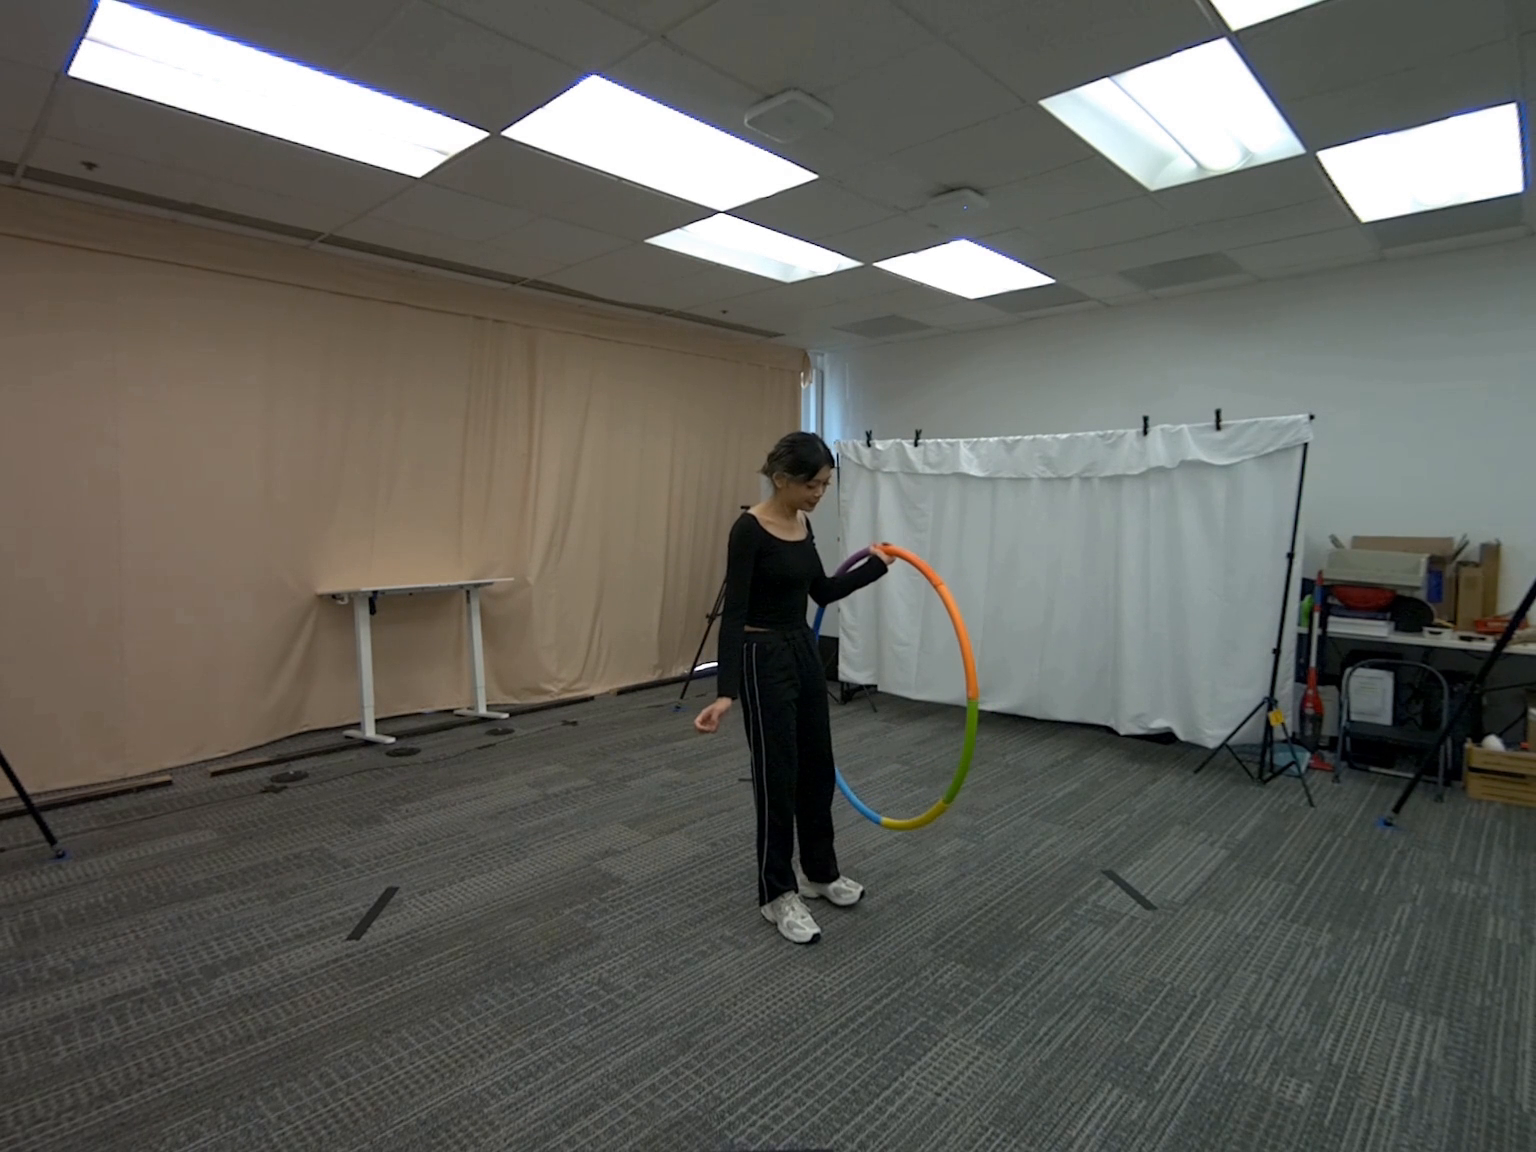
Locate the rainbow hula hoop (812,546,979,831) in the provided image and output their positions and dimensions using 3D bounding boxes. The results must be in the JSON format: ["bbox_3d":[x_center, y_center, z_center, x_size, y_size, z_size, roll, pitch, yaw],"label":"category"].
[{"bbox_3d":[0.405,0.387,3.009,0.034,0.977,1.006,0,3,-28],"label":"rainbow hula hoop"}]
